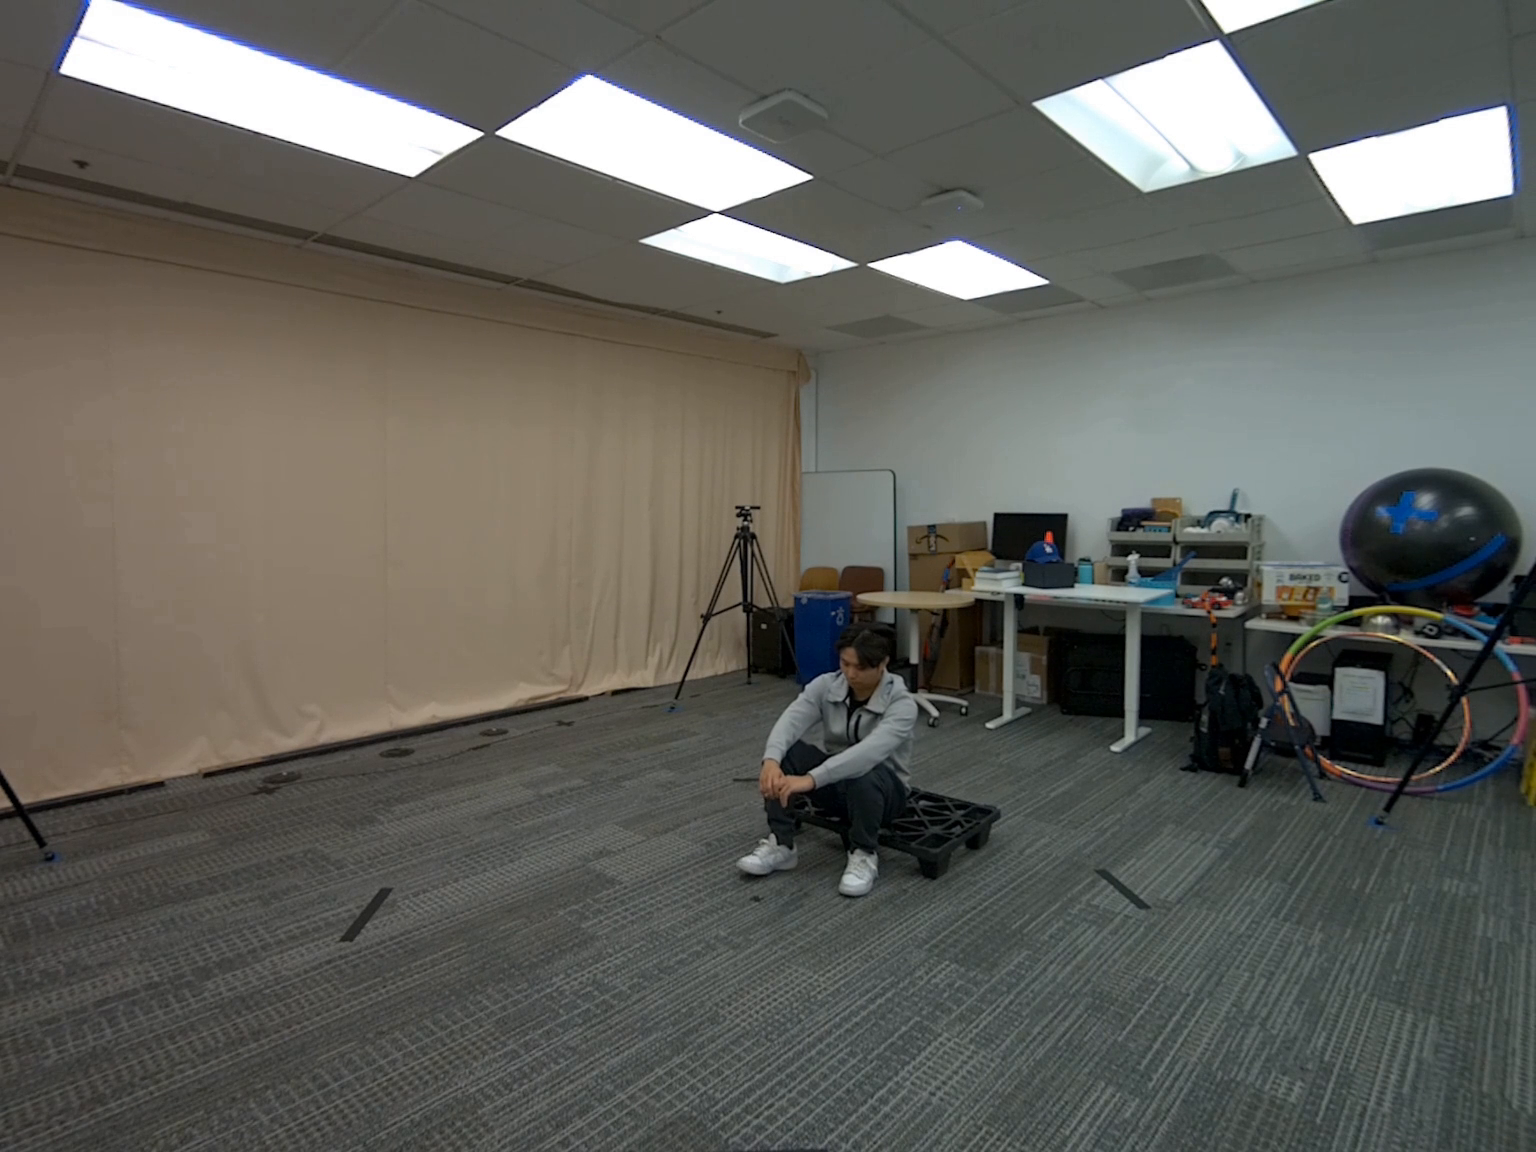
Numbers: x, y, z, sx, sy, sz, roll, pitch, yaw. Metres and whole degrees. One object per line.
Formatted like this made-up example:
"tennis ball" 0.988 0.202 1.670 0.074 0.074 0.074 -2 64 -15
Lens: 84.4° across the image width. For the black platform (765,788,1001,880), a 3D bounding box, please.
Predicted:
"black platform" 0.477 1.030 3.533 0.832 0.143 0.587 4 6 39
